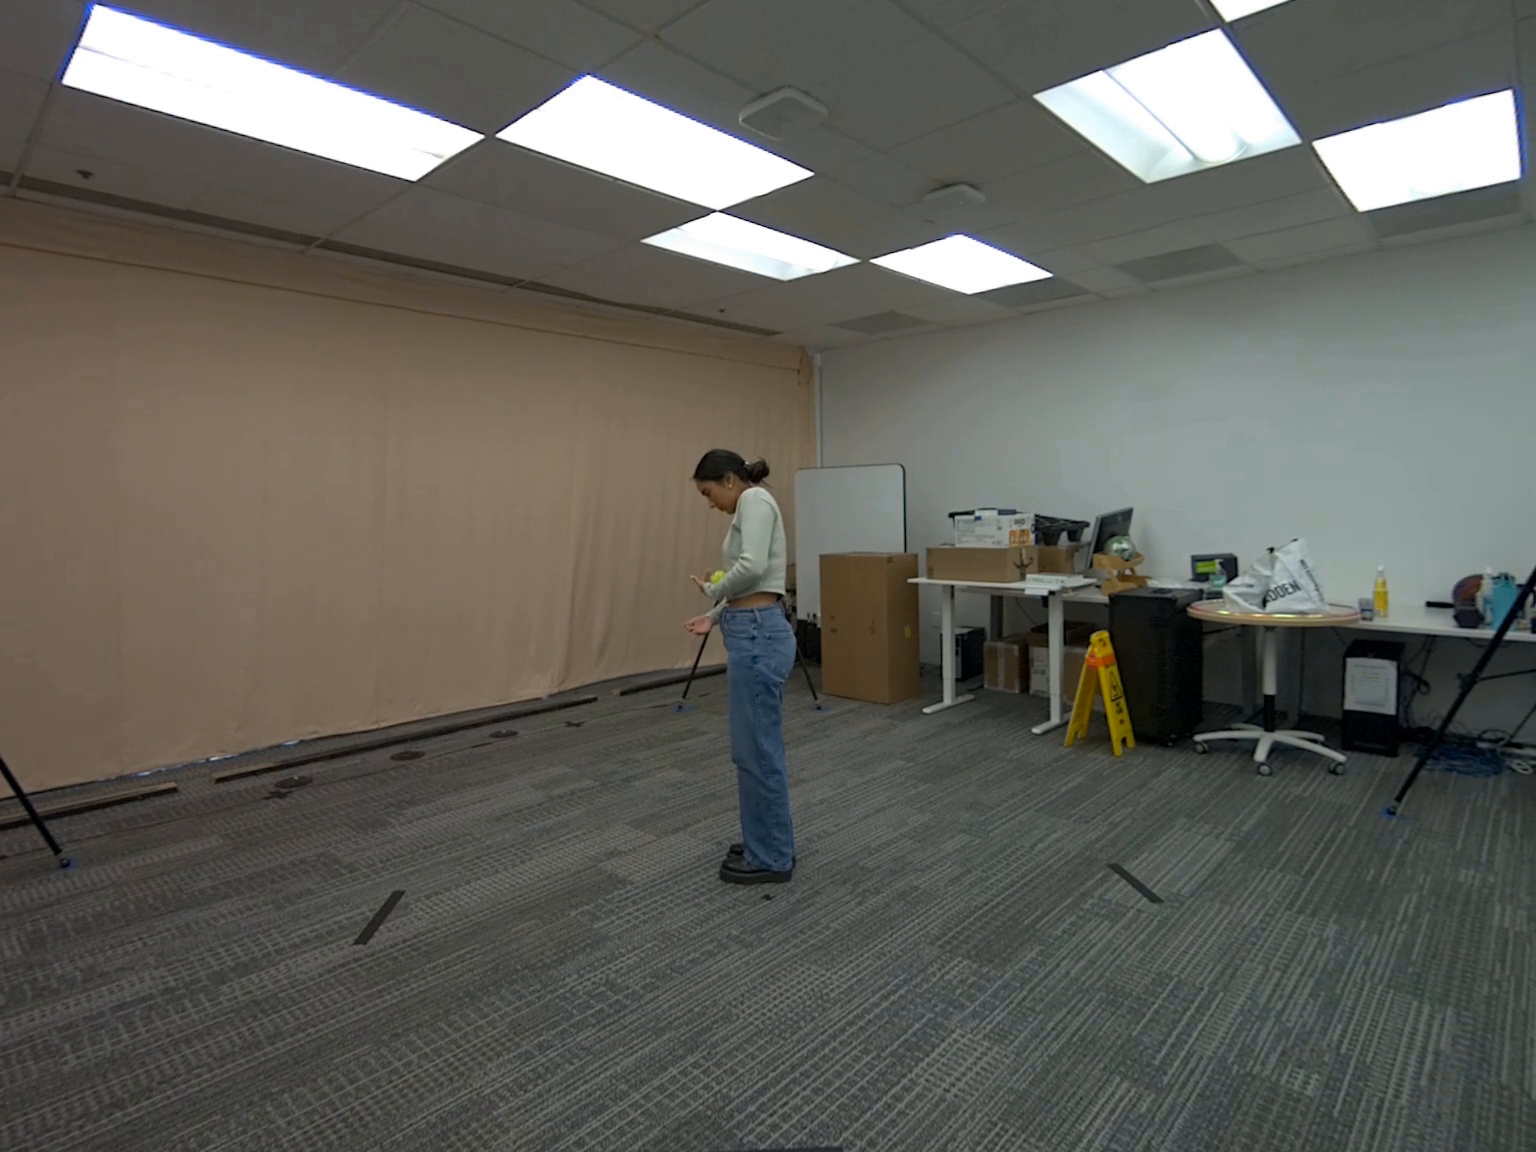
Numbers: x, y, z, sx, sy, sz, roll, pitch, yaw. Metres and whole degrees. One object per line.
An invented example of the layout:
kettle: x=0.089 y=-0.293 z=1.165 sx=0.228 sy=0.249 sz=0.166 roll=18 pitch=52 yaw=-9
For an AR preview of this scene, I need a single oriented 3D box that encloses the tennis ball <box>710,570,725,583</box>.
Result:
tennis ball: x=-0.171 y=0.013 z=3.115 sx=0.066 sy=0.066 sz=0.067 roll=-1 pitch=4 yaw=-2
